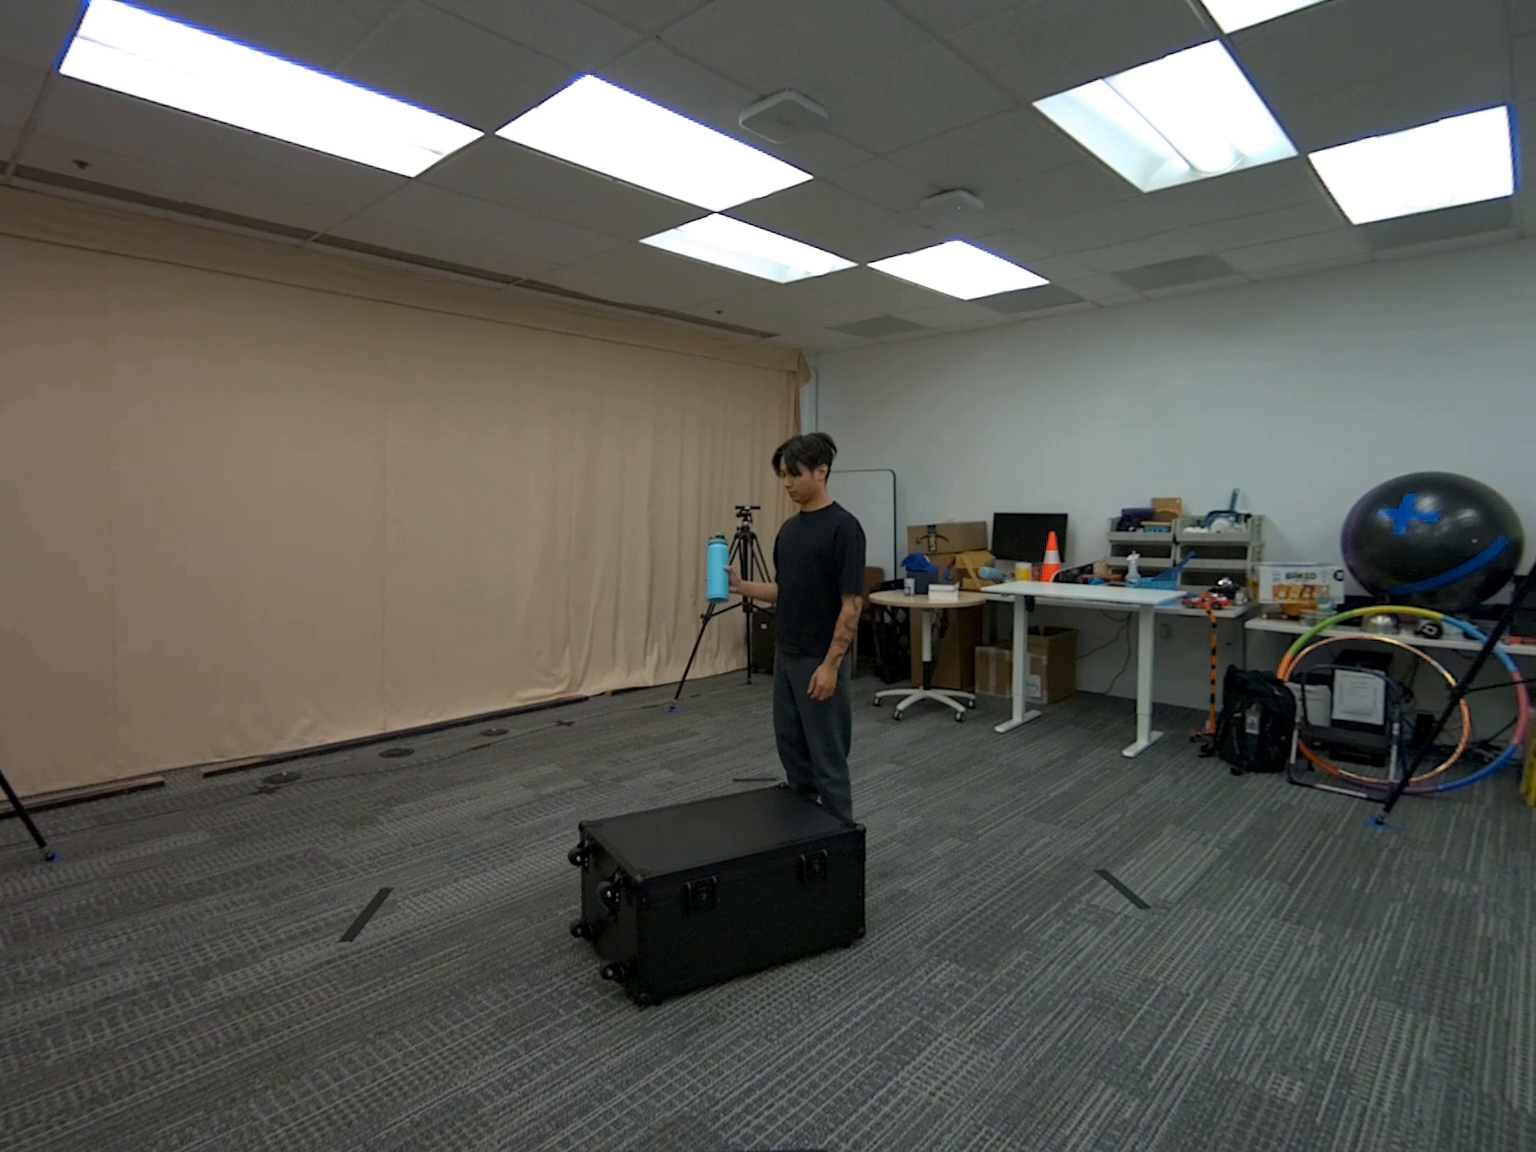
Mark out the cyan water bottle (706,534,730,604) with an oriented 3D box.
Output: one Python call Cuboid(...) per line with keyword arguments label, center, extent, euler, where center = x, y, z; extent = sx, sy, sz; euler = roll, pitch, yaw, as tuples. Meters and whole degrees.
Cuboid(label="cyan water bottle", center=(-0.196, -0.034, 3.408), extent=(0.092, 0.287, 0.091), euler=(-2, -19, -2))
